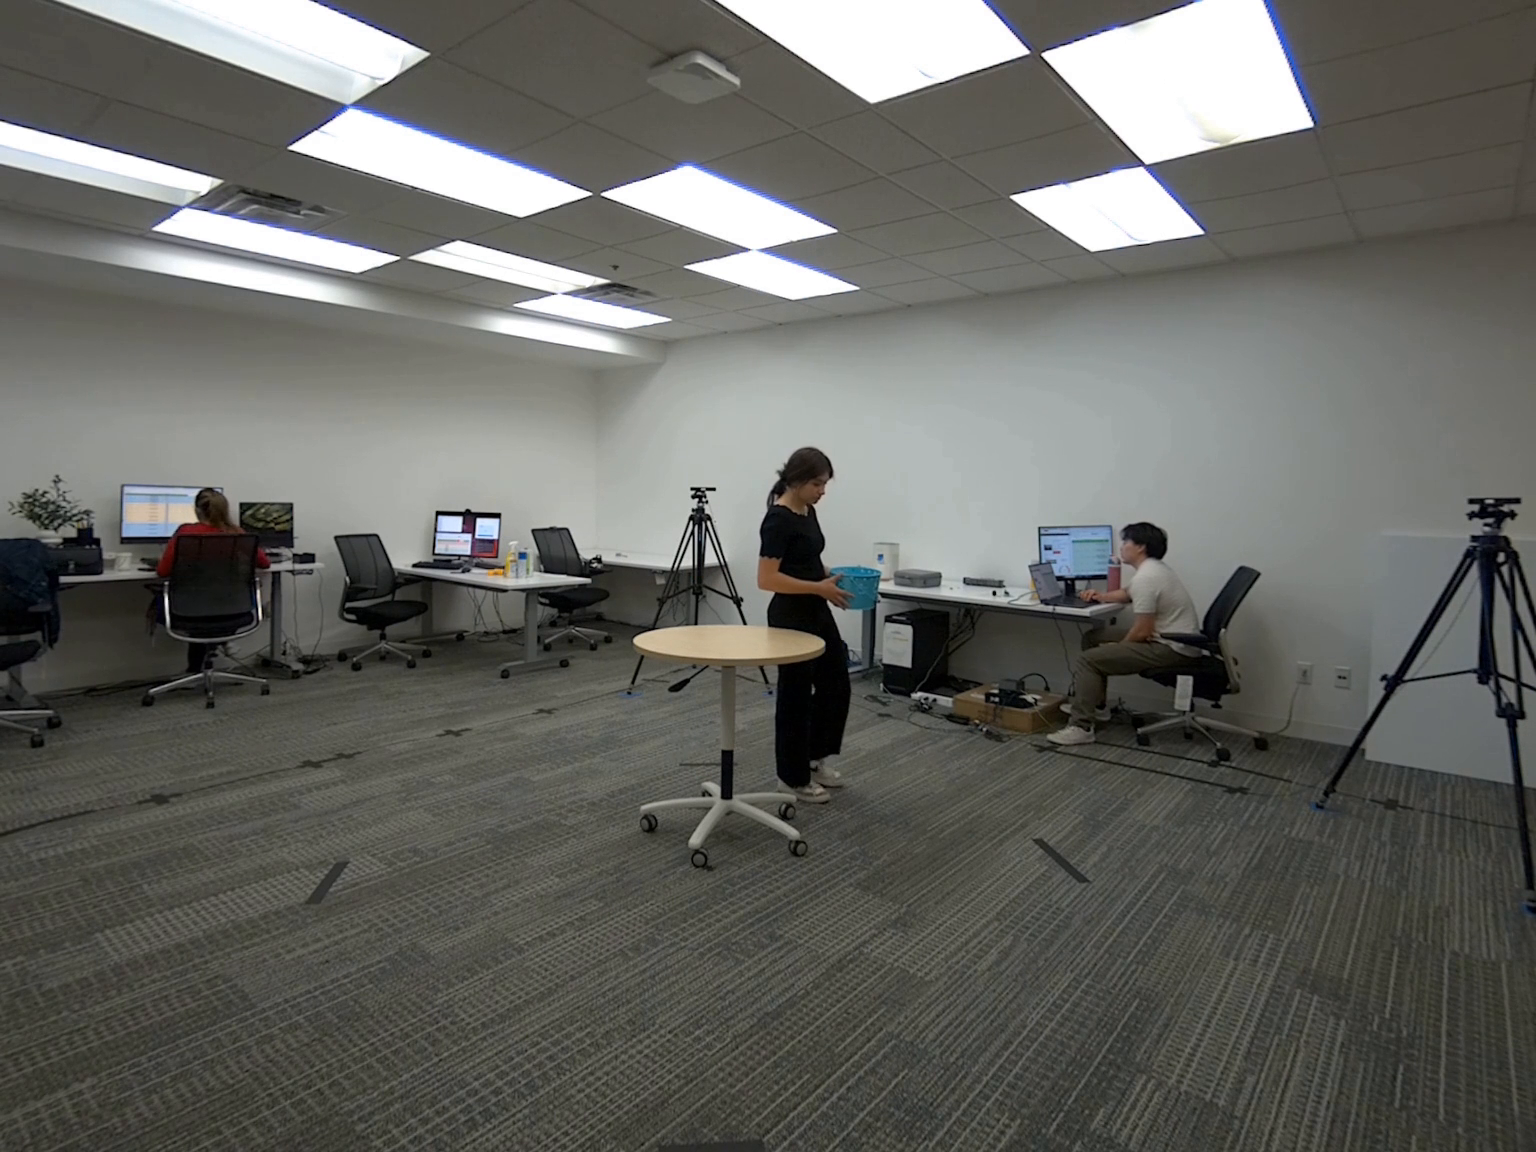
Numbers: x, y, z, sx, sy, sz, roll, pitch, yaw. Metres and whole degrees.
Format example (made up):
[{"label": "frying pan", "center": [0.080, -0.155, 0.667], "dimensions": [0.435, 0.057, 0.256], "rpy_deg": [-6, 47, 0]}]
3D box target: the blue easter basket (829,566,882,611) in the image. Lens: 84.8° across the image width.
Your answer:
[{"label": "blue easter basket", "center": [0.371, 0.053, 3.714], "dimensions": [0.243, 0.155, 0.246], "rpy_deg": [0, 8, -2]}]
